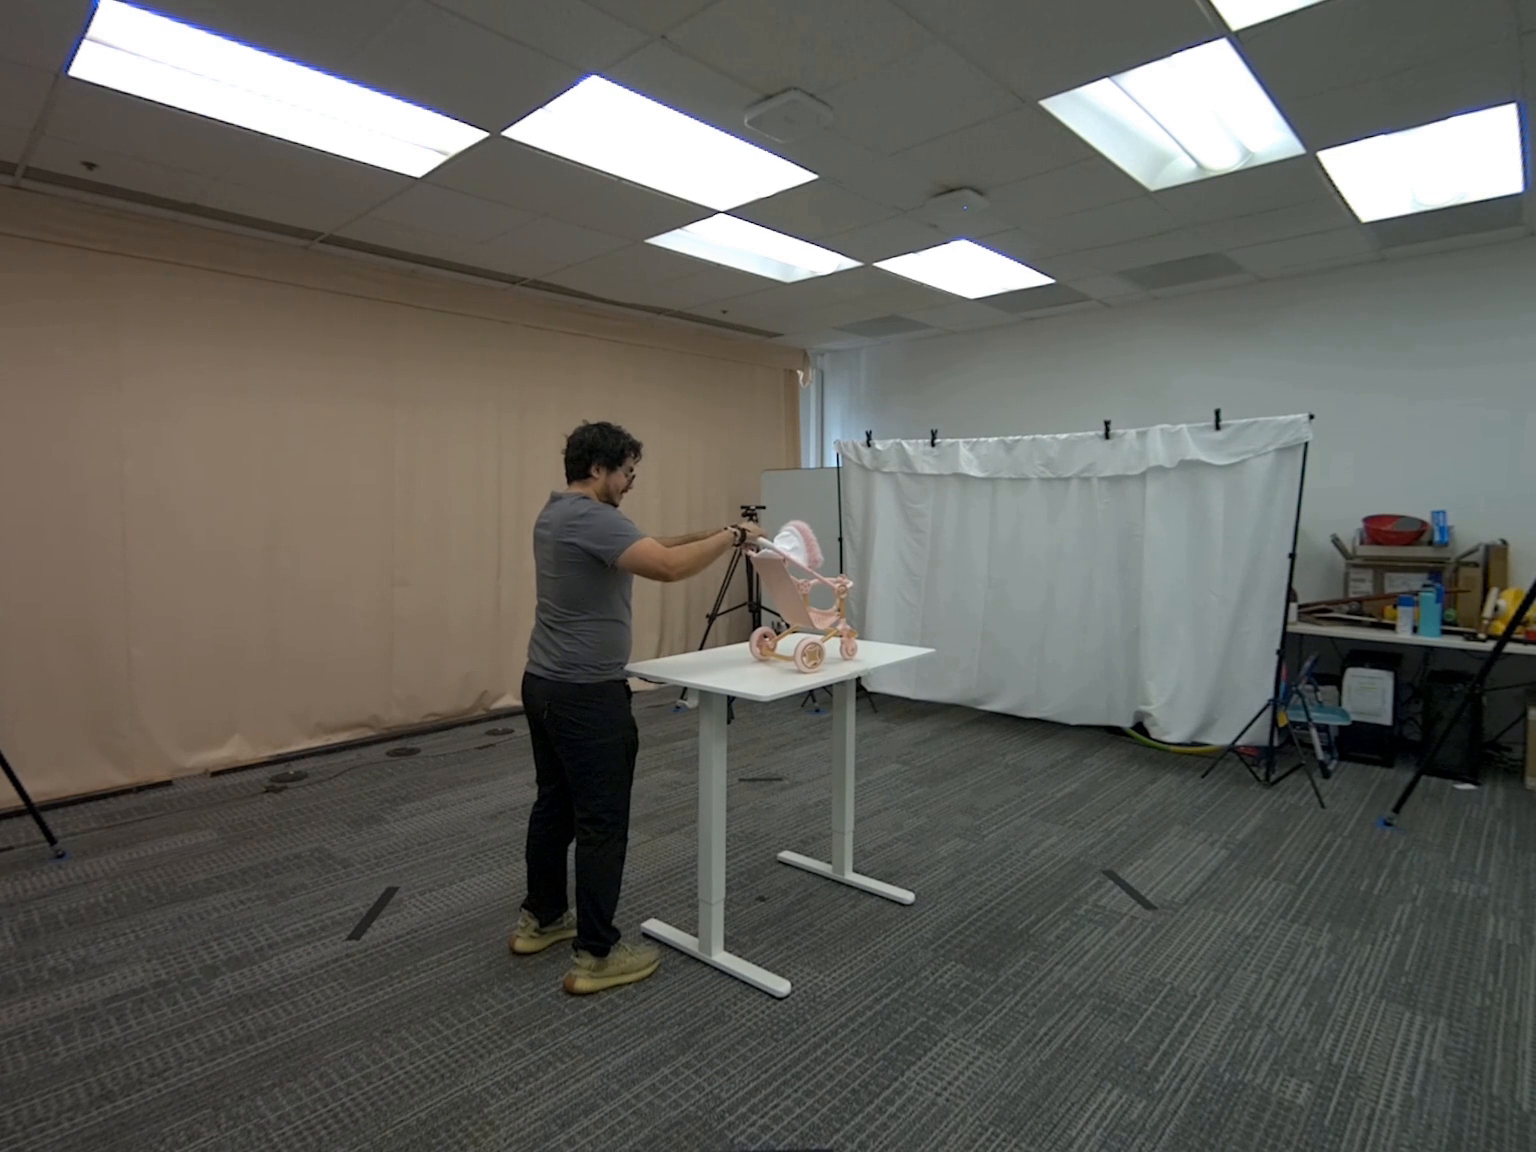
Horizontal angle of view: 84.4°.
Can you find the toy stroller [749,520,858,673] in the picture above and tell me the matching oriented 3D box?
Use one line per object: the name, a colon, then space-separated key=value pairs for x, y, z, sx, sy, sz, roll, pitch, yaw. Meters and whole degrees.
toy stroller: x=0.114 y=0.063 z=2.676 sx=0.335 sy=0.531 sz=0.289 roll=-18 pitch=10 yaw=-26
